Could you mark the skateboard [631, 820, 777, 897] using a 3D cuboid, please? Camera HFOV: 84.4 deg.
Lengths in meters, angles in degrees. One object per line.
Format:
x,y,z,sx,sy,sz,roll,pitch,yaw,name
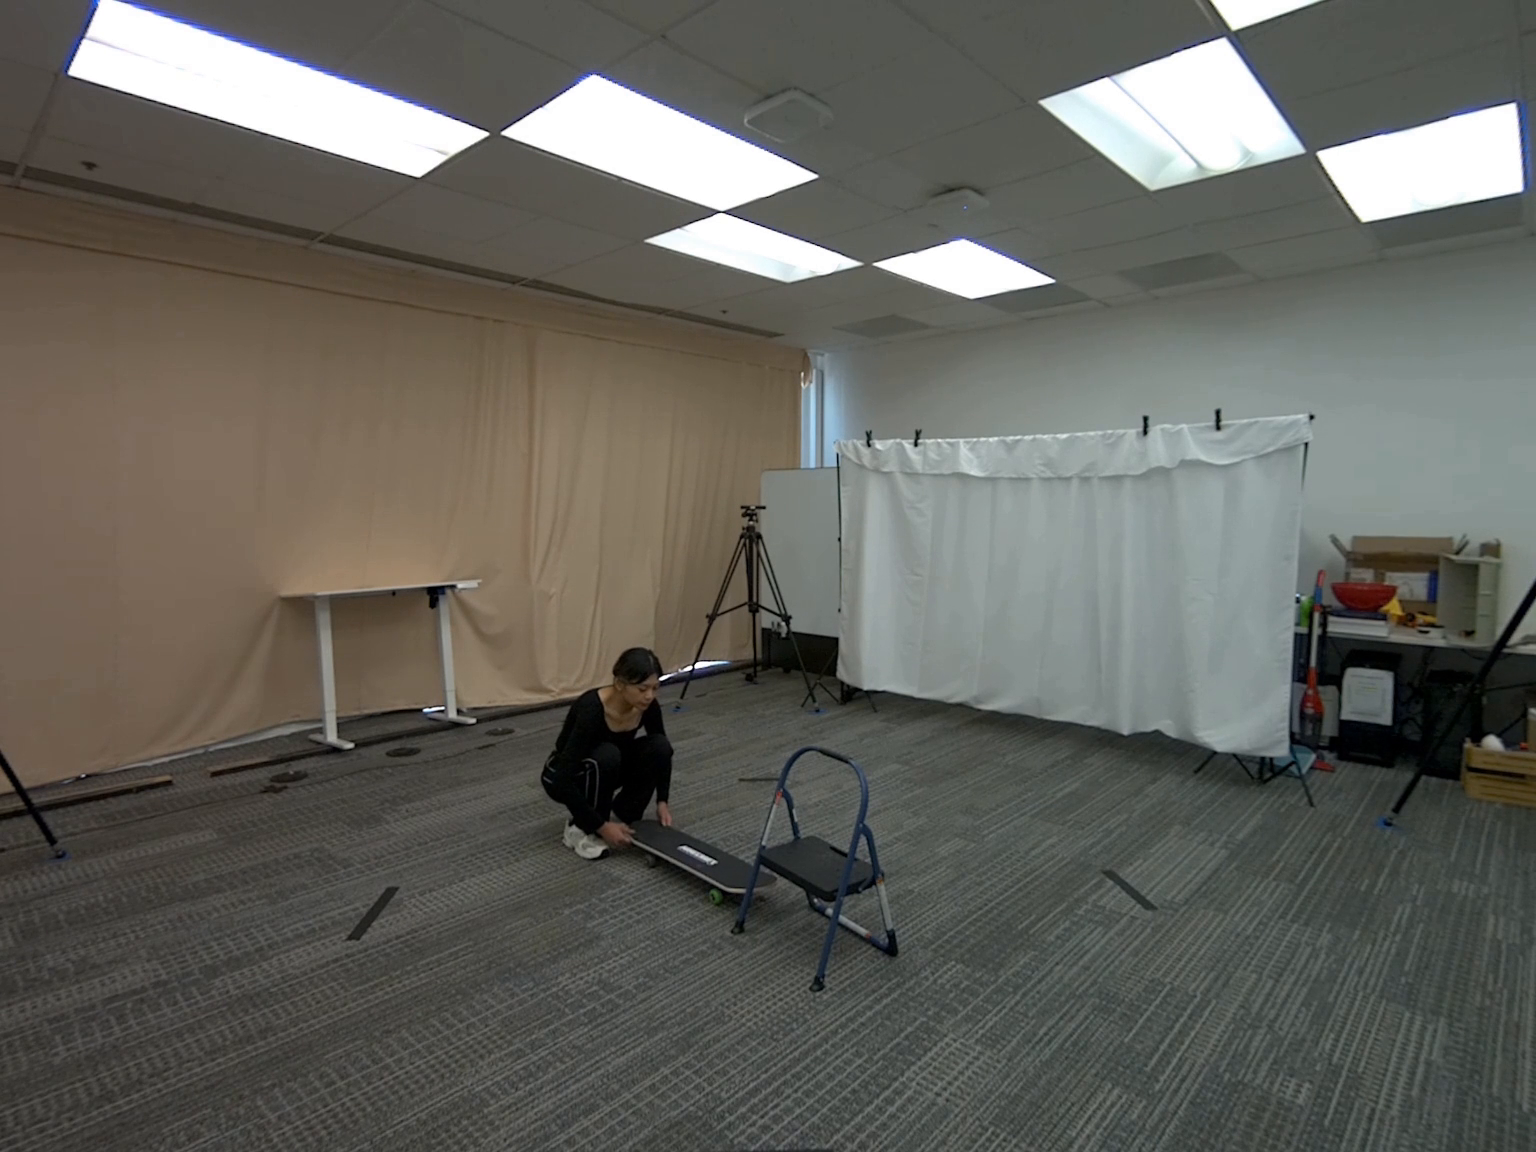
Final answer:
-0.261,1.080,3.149,0.187,0.110,0.811,-3,5,-41,skateboard
